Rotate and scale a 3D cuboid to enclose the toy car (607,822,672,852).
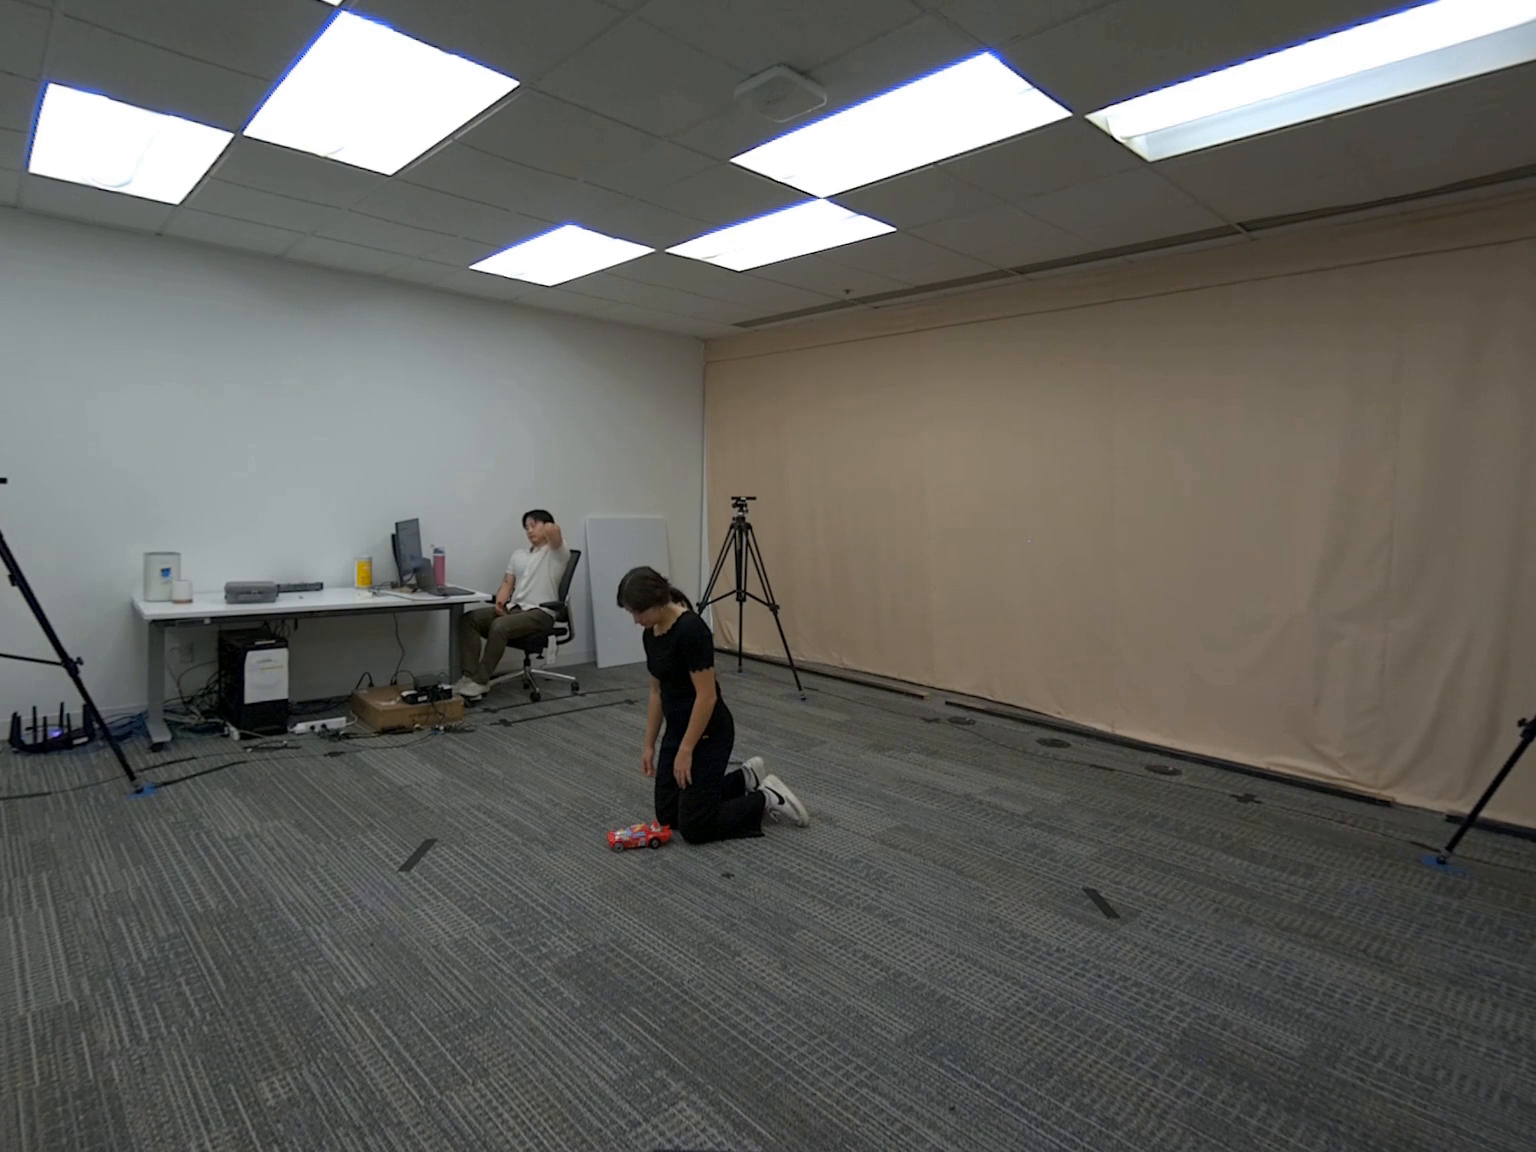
[{"bbox_3d":[-0.518,1.043,3.357,0.252,0.082,0.132,-11,10,-14],"label":"toy car"}]
